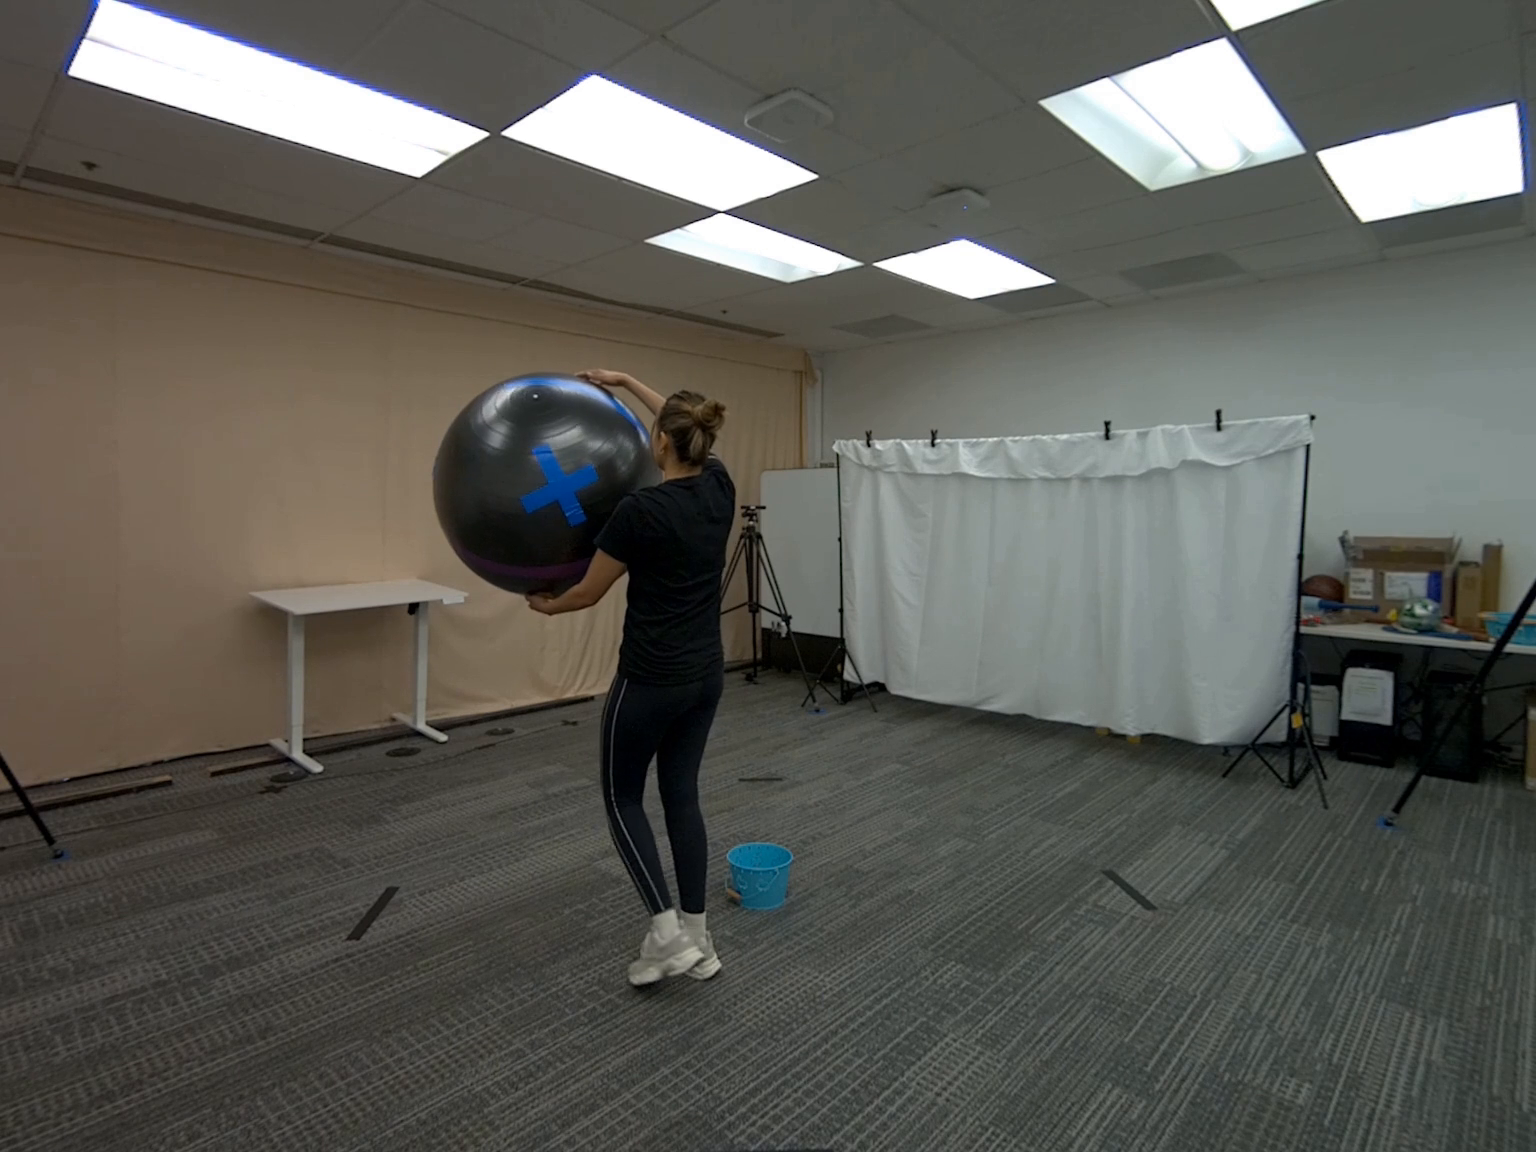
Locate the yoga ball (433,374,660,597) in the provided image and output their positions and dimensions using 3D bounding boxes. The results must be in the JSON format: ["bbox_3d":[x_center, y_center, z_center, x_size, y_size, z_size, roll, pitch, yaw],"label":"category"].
[{"bbox_3d":[-0.733,-0.293,2.823,0.757,0.756,0.761,0,4,-2],"label":"yoga ball"}]
